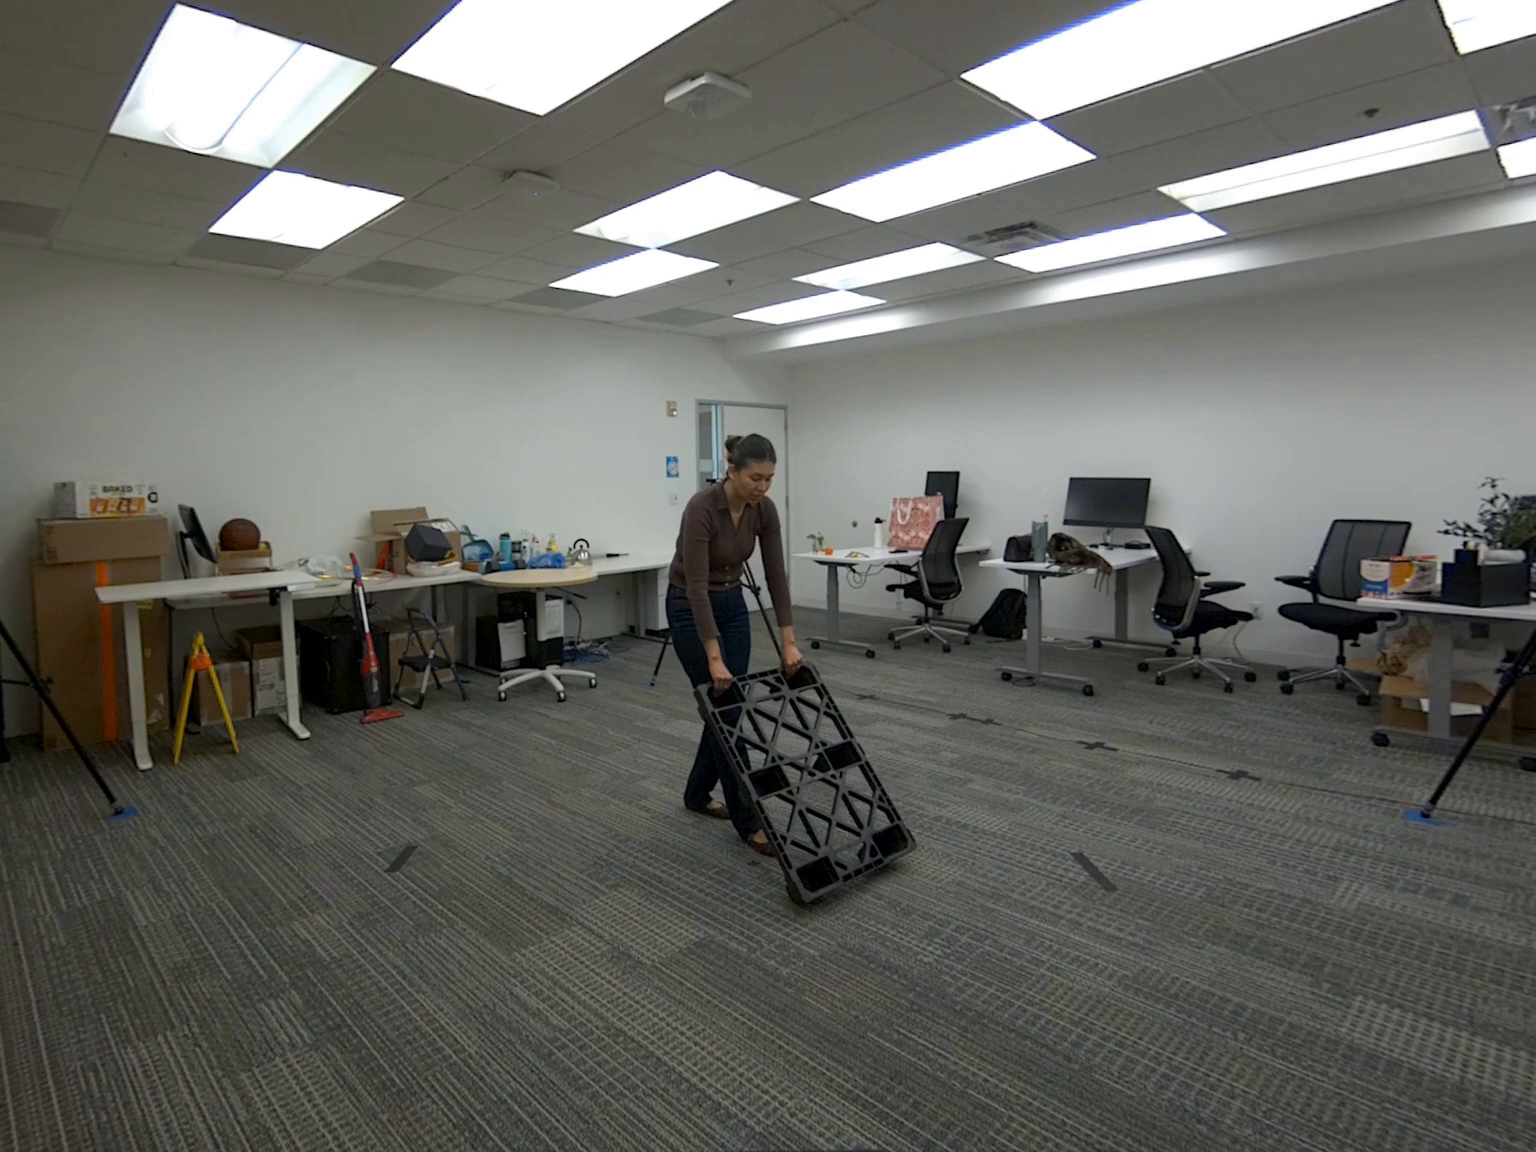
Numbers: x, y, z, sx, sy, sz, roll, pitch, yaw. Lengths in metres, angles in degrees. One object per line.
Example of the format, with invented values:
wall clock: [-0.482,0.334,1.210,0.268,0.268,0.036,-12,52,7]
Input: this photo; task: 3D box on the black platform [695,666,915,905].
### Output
black platform: [0.116,0.715,3.099,0.589,0.830,0.143,-5,-35,-42]
